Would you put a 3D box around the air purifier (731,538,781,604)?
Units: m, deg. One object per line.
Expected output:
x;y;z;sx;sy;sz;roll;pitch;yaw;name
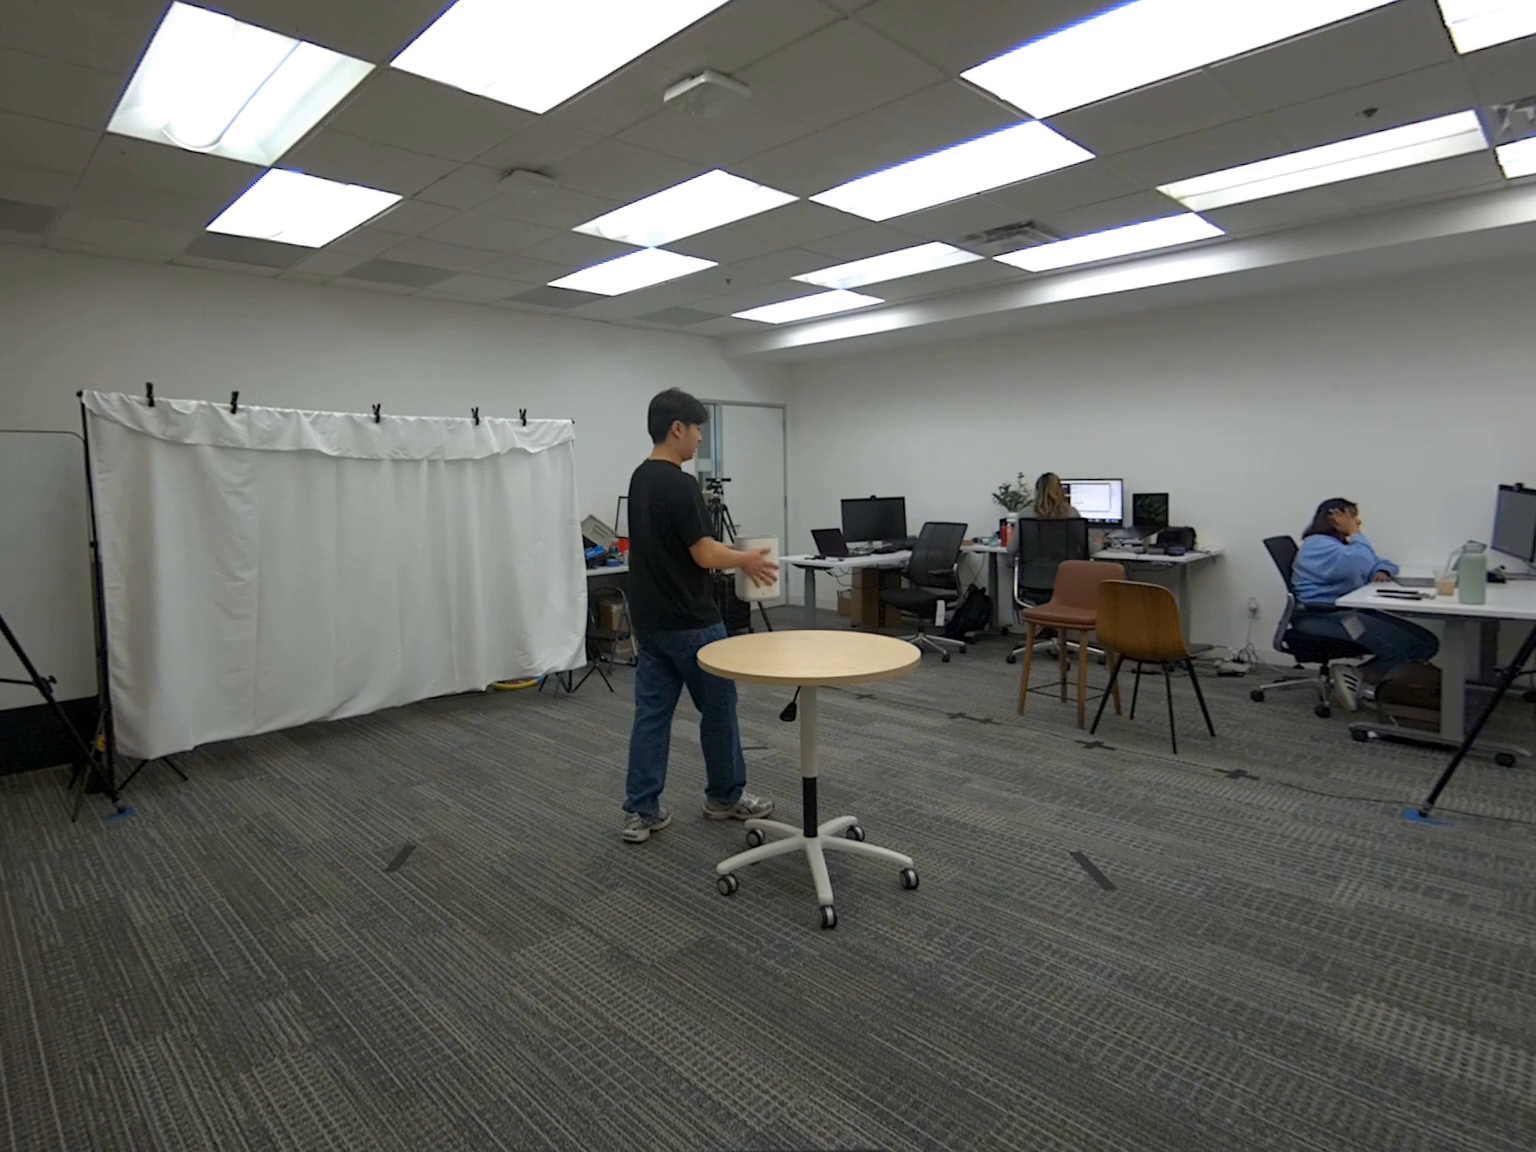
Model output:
-0.048;-0.033;3.533;0.169;0.264;0.174;-3;4;-12;air purifier
